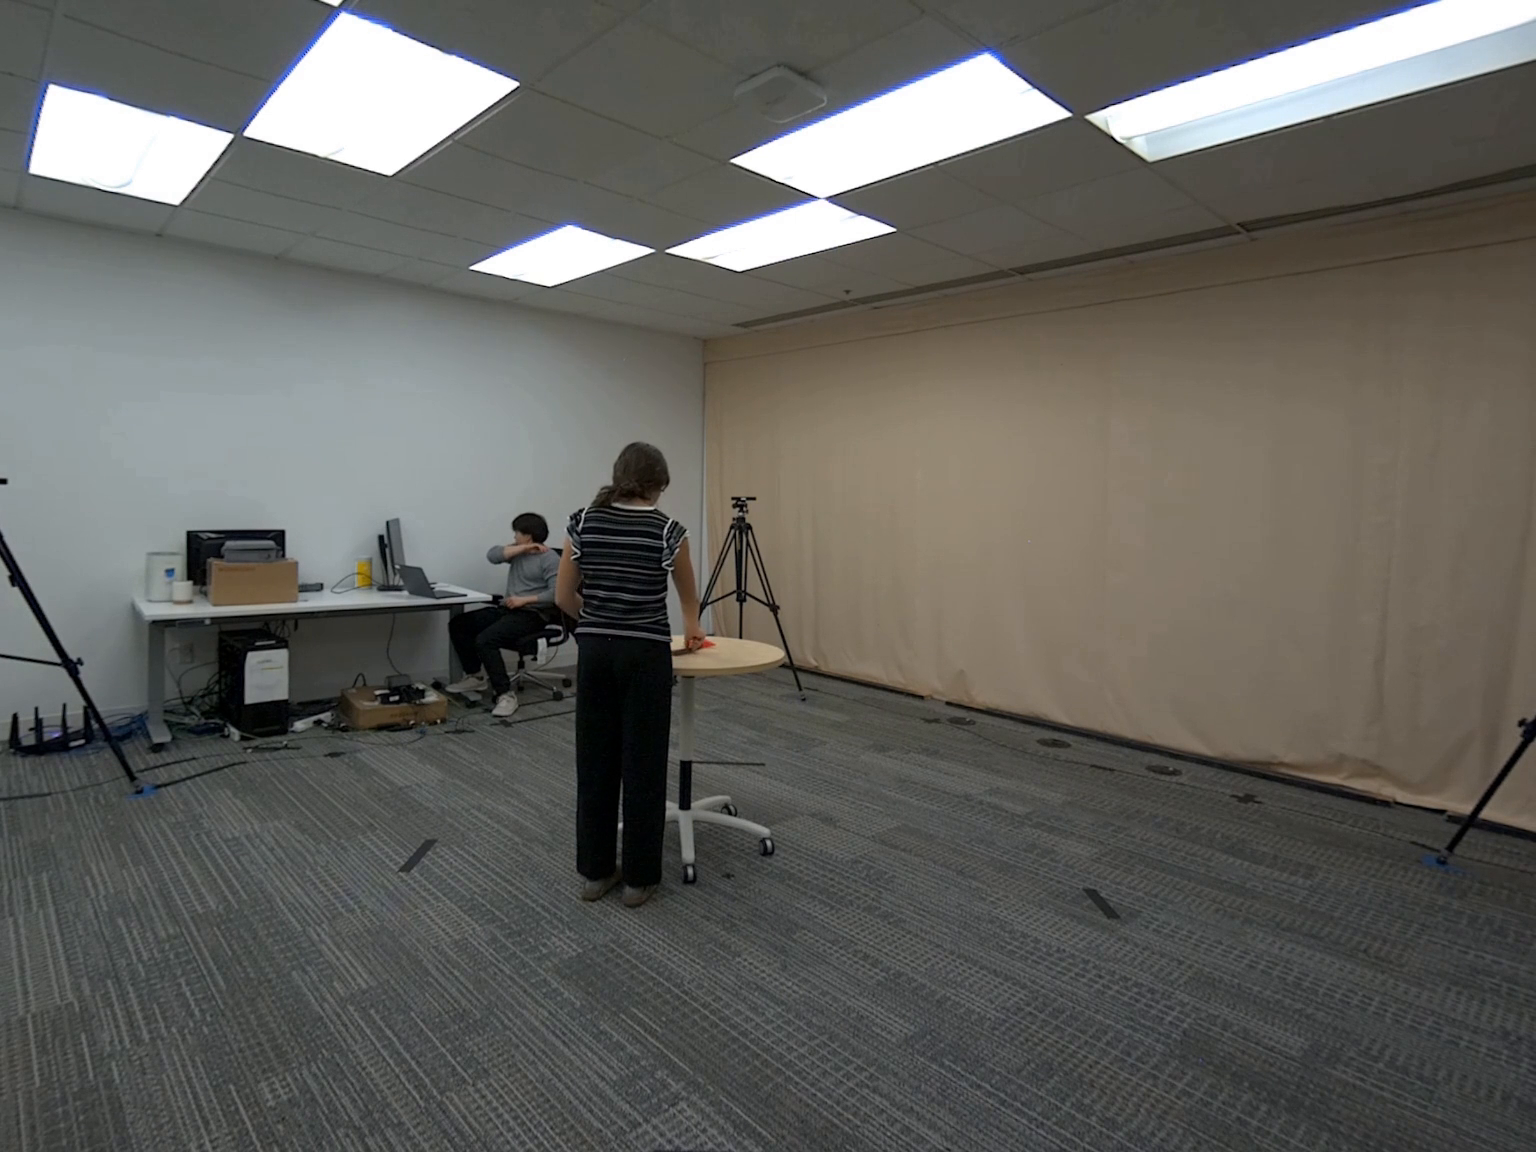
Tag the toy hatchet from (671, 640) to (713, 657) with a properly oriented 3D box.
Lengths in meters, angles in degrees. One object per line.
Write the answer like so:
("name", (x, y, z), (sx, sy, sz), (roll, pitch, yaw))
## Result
("toy hatchet", (-0.341, 0.280, 3.353), (0.134, 0.029, 0.264), (10, 9, 33))
